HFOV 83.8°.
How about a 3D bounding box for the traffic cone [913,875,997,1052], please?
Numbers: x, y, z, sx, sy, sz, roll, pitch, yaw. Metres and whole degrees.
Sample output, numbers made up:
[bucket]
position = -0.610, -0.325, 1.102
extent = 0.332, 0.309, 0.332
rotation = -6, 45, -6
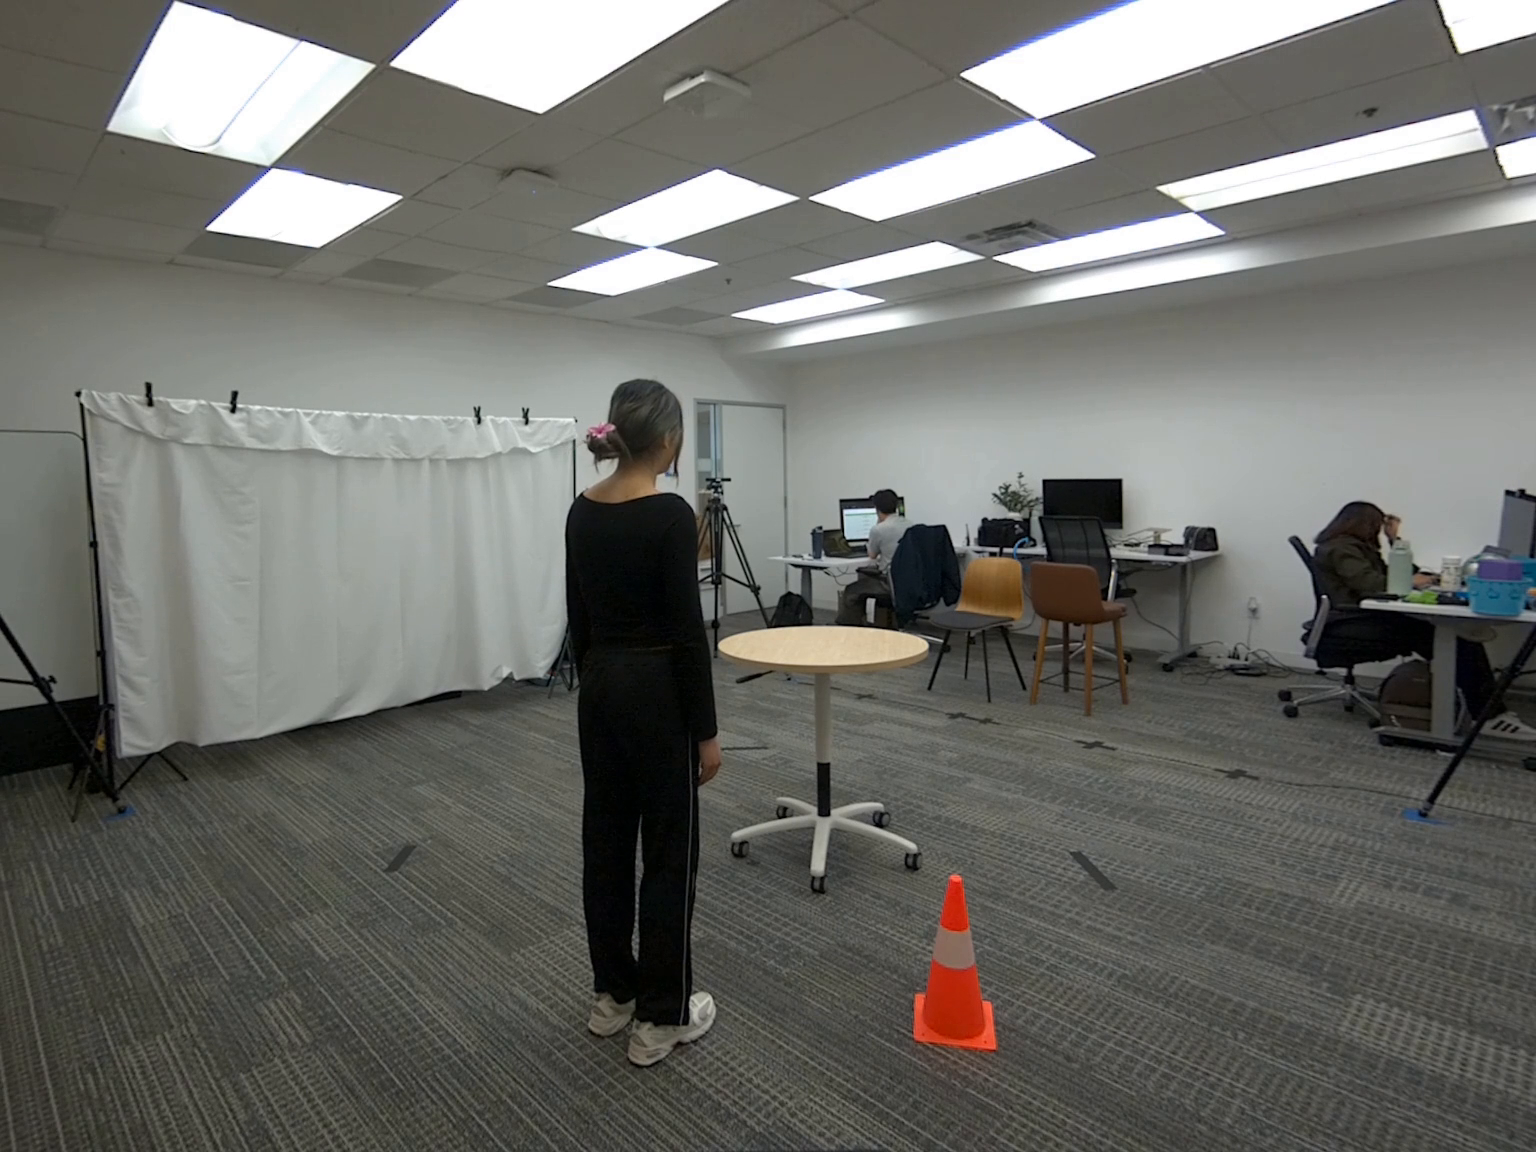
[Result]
[traffic cone]
position = 0.480, 0.956, 2.173
extent = 0.205, 0.382, 0.204
rotation = -2, 4, 10
